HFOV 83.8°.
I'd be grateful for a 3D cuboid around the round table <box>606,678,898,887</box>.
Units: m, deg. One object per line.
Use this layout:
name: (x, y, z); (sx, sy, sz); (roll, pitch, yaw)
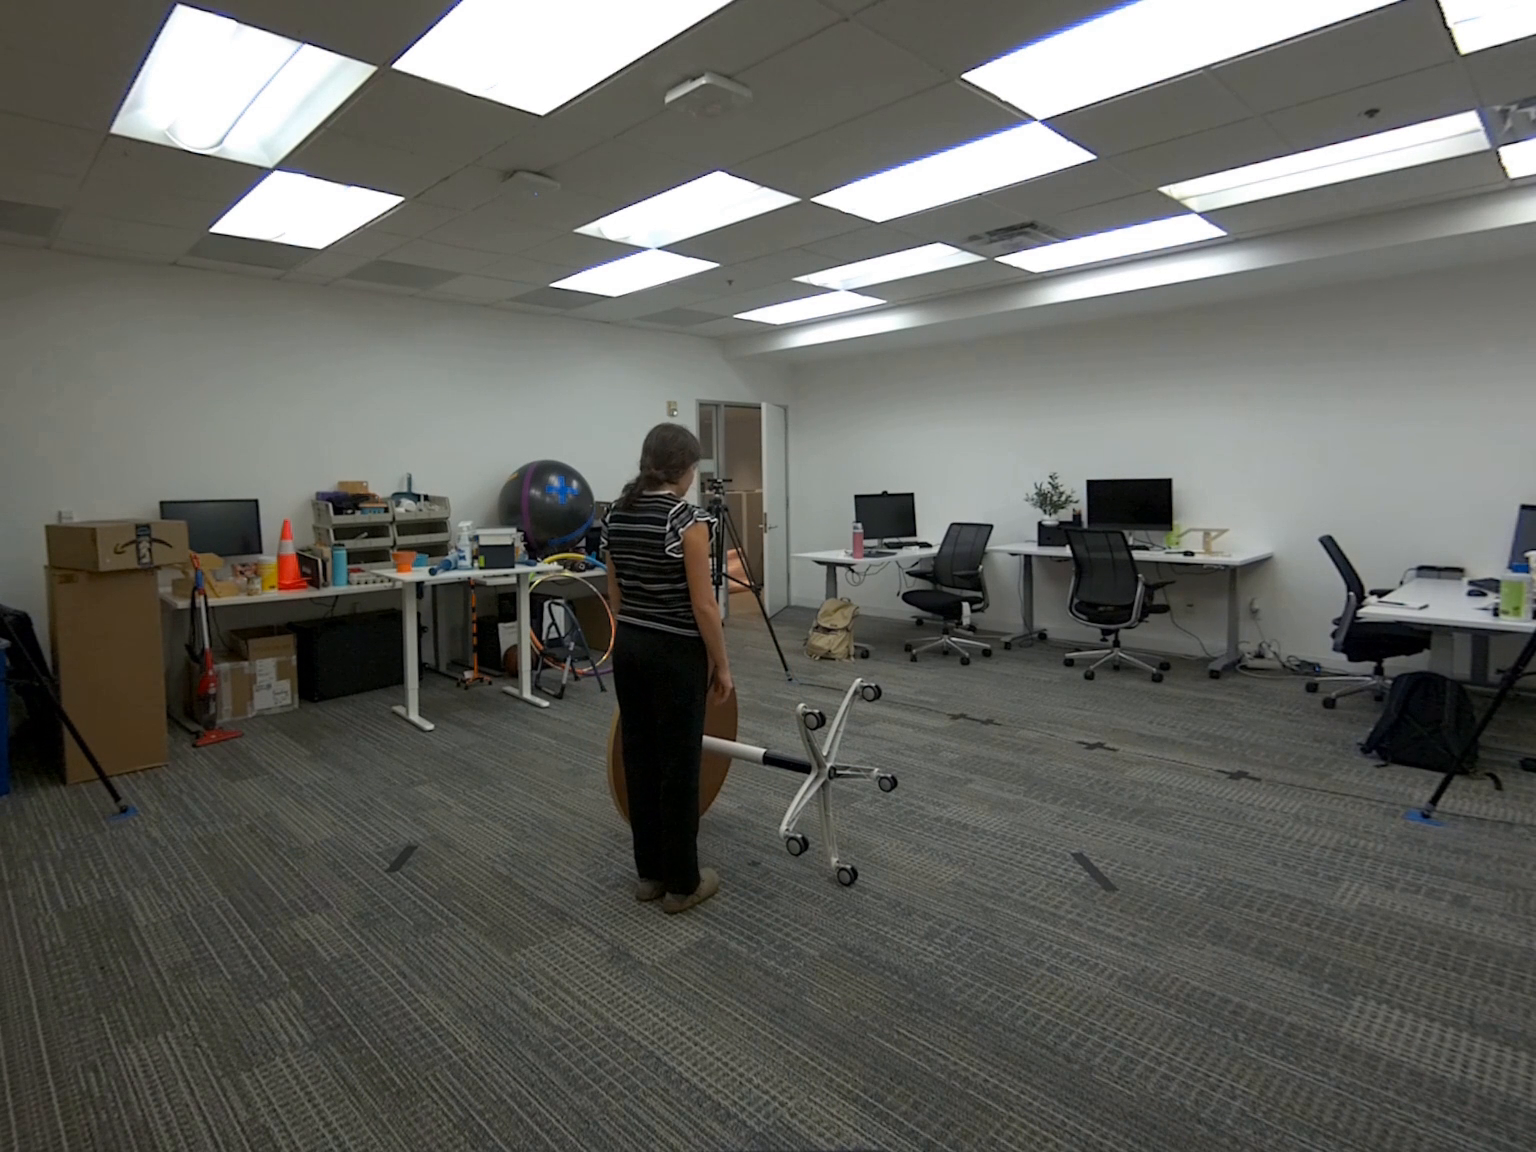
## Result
round table: (-0.038, 0.668, 3.145); (0.817, 0.760, 0.745); (4, 7, 36)
